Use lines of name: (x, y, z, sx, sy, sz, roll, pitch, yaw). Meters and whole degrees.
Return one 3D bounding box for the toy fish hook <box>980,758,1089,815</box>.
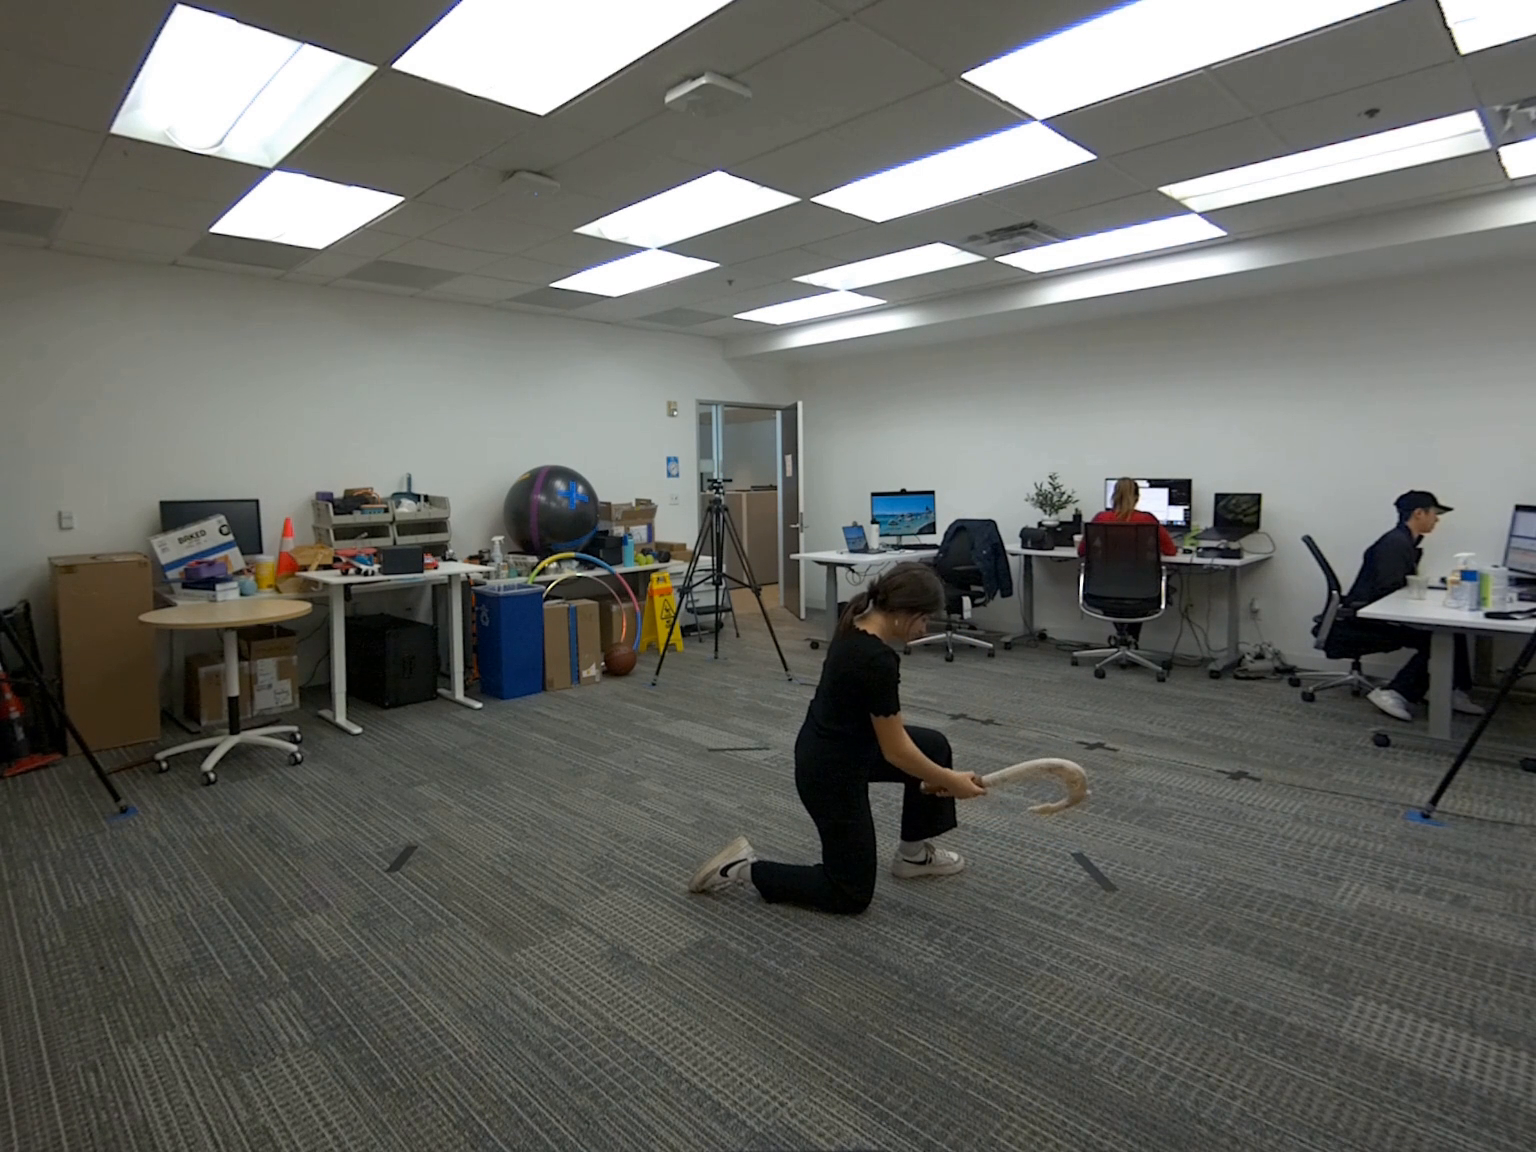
toy fish hook: (0.743, 0.701, 2.702, 0.513, 0.219, 0.049, -11, 22, 18)
